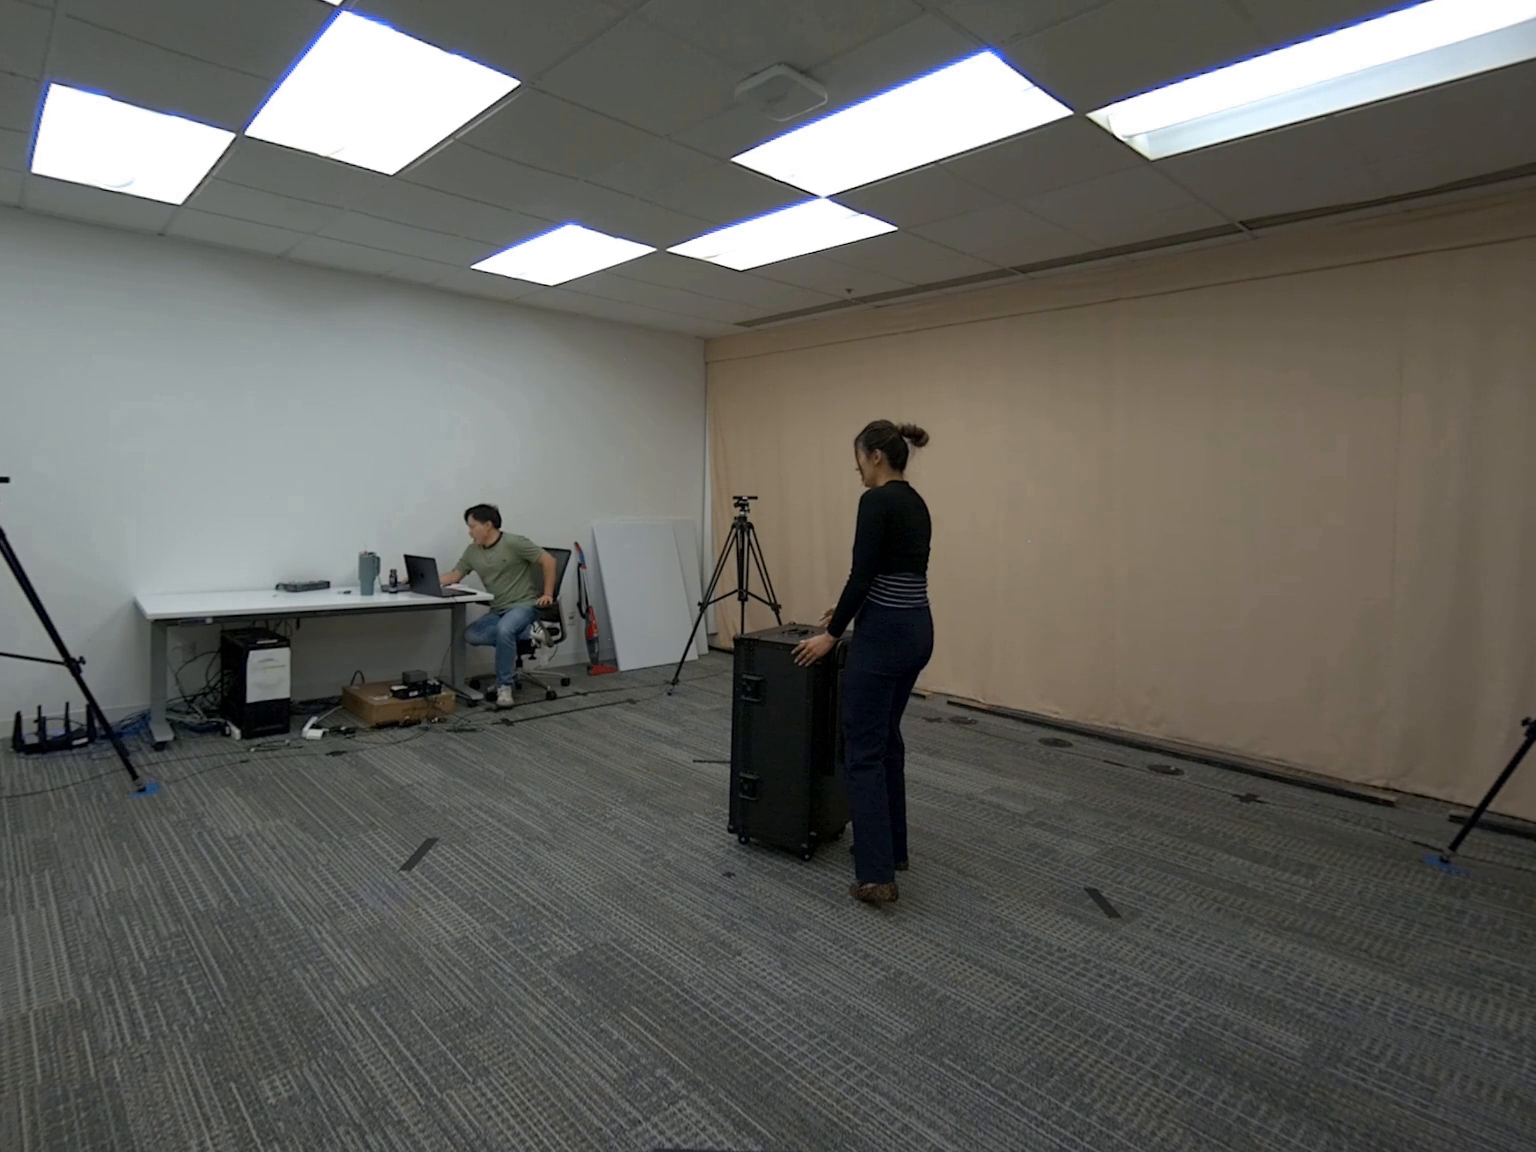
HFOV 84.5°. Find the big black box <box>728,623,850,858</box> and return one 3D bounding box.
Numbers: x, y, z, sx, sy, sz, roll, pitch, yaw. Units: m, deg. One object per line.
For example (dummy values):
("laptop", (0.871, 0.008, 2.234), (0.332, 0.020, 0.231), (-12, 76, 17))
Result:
("big black box", (0.127, 0.658, 3.416), (0.405, 0.859, 0.511), (5, 4, 31))
